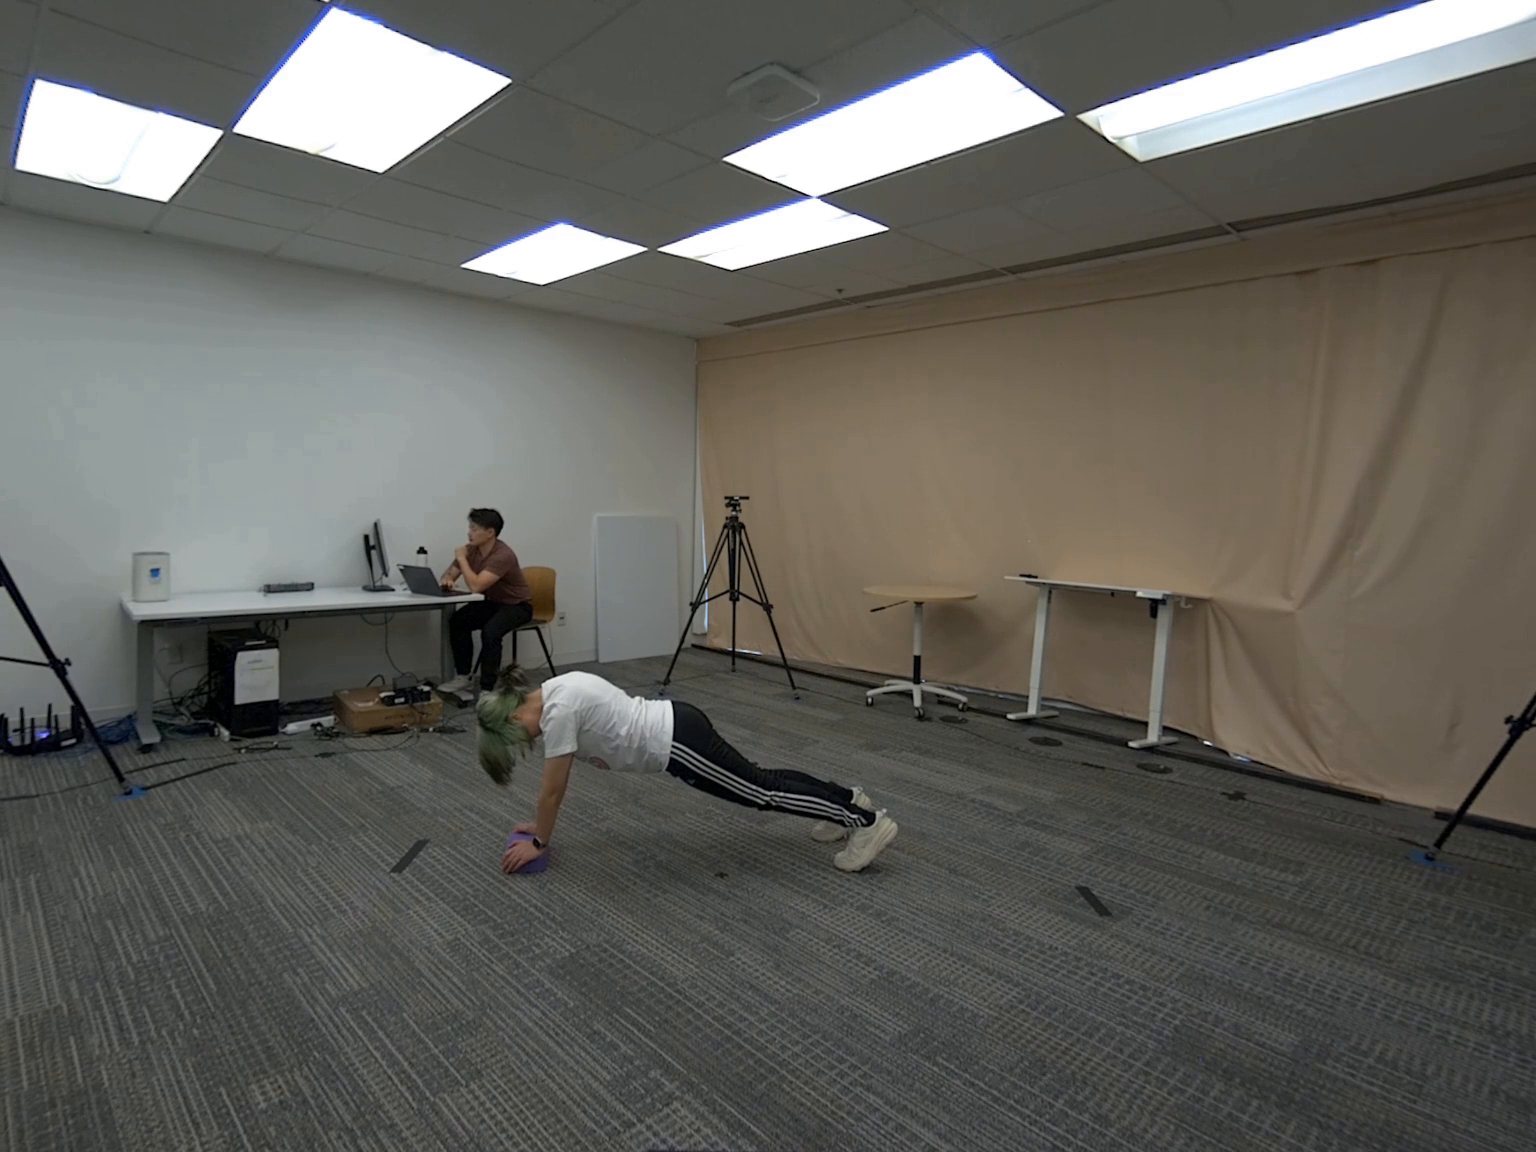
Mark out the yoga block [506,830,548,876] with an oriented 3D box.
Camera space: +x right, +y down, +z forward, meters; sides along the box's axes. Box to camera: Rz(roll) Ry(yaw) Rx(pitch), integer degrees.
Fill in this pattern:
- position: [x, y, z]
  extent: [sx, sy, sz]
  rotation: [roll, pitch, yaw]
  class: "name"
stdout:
- position: [-0.912, 1.039, 3.197]
  extent: [0.148, 0.076, 0.232]
  rotation: [1, 6, -8]
  class: "yoga block"
